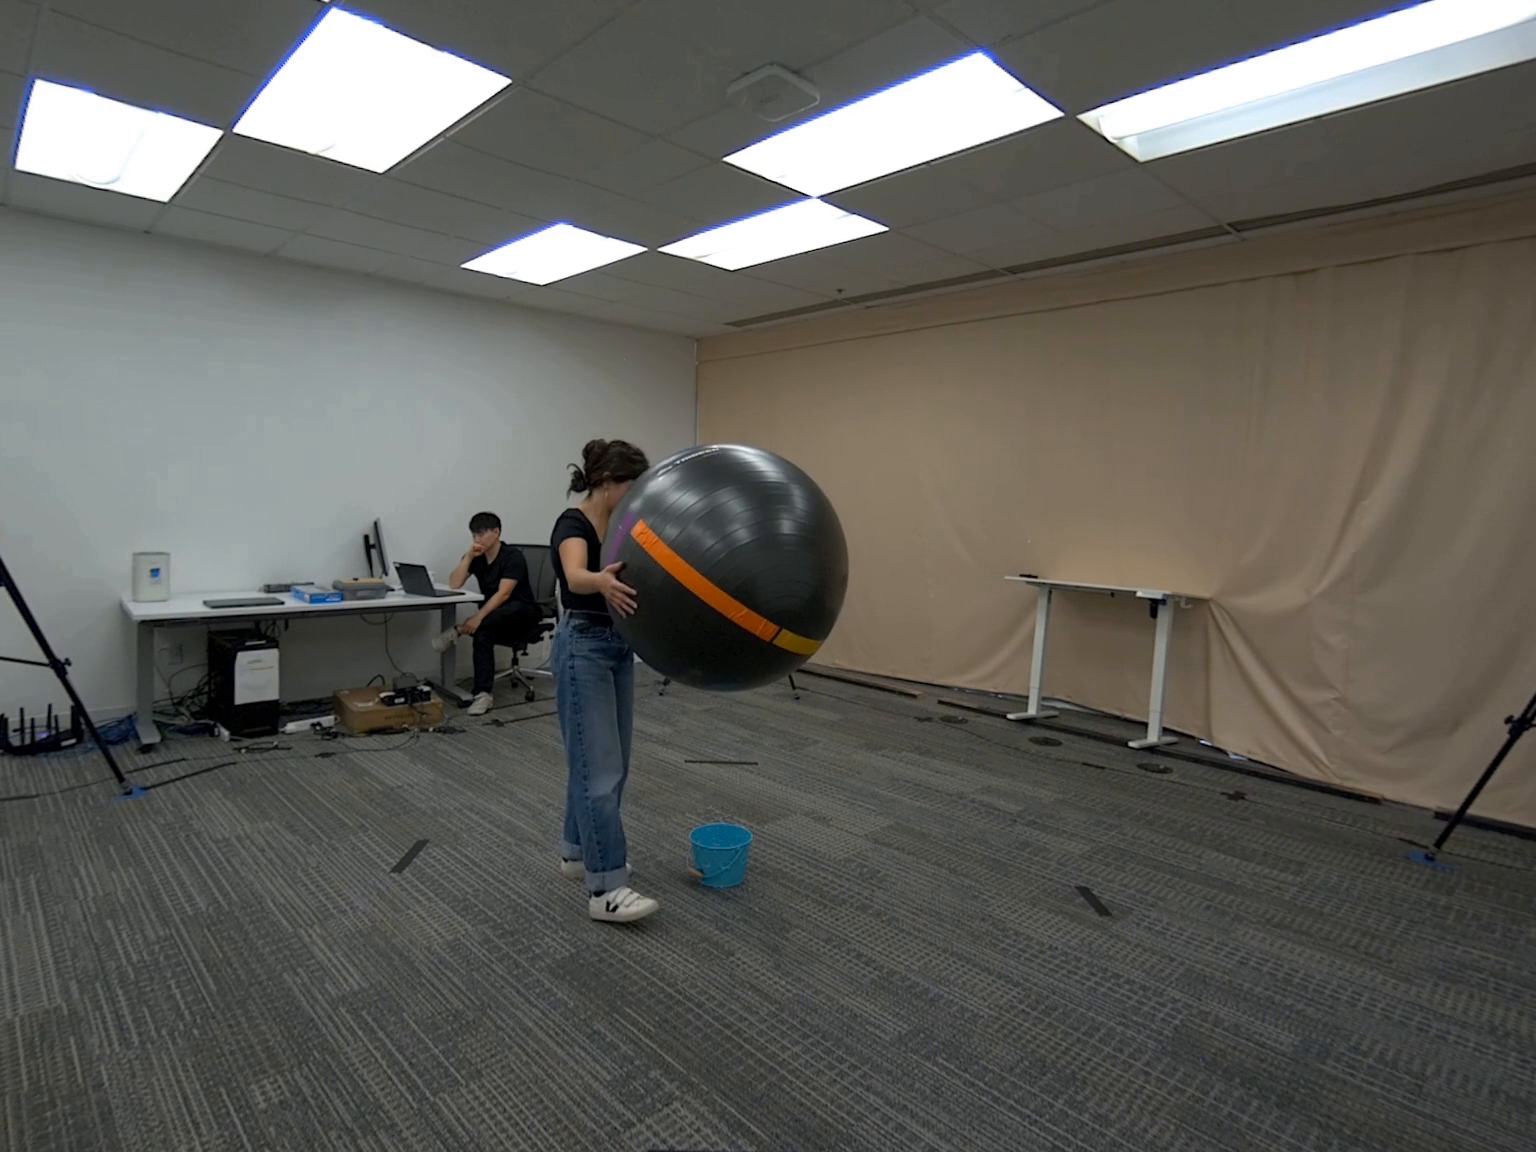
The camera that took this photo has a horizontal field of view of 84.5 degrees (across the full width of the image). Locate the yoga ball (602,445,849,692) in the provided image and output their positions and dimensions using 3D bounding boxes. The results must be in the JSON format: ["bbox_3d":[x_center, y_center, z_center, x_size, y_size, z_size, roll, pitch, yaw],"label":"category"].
[{"bbox_3d":[-0.128,-0.012,2.587,0.757,0.756,0.760,1,4,-1],"label":"yoga ball"}]
